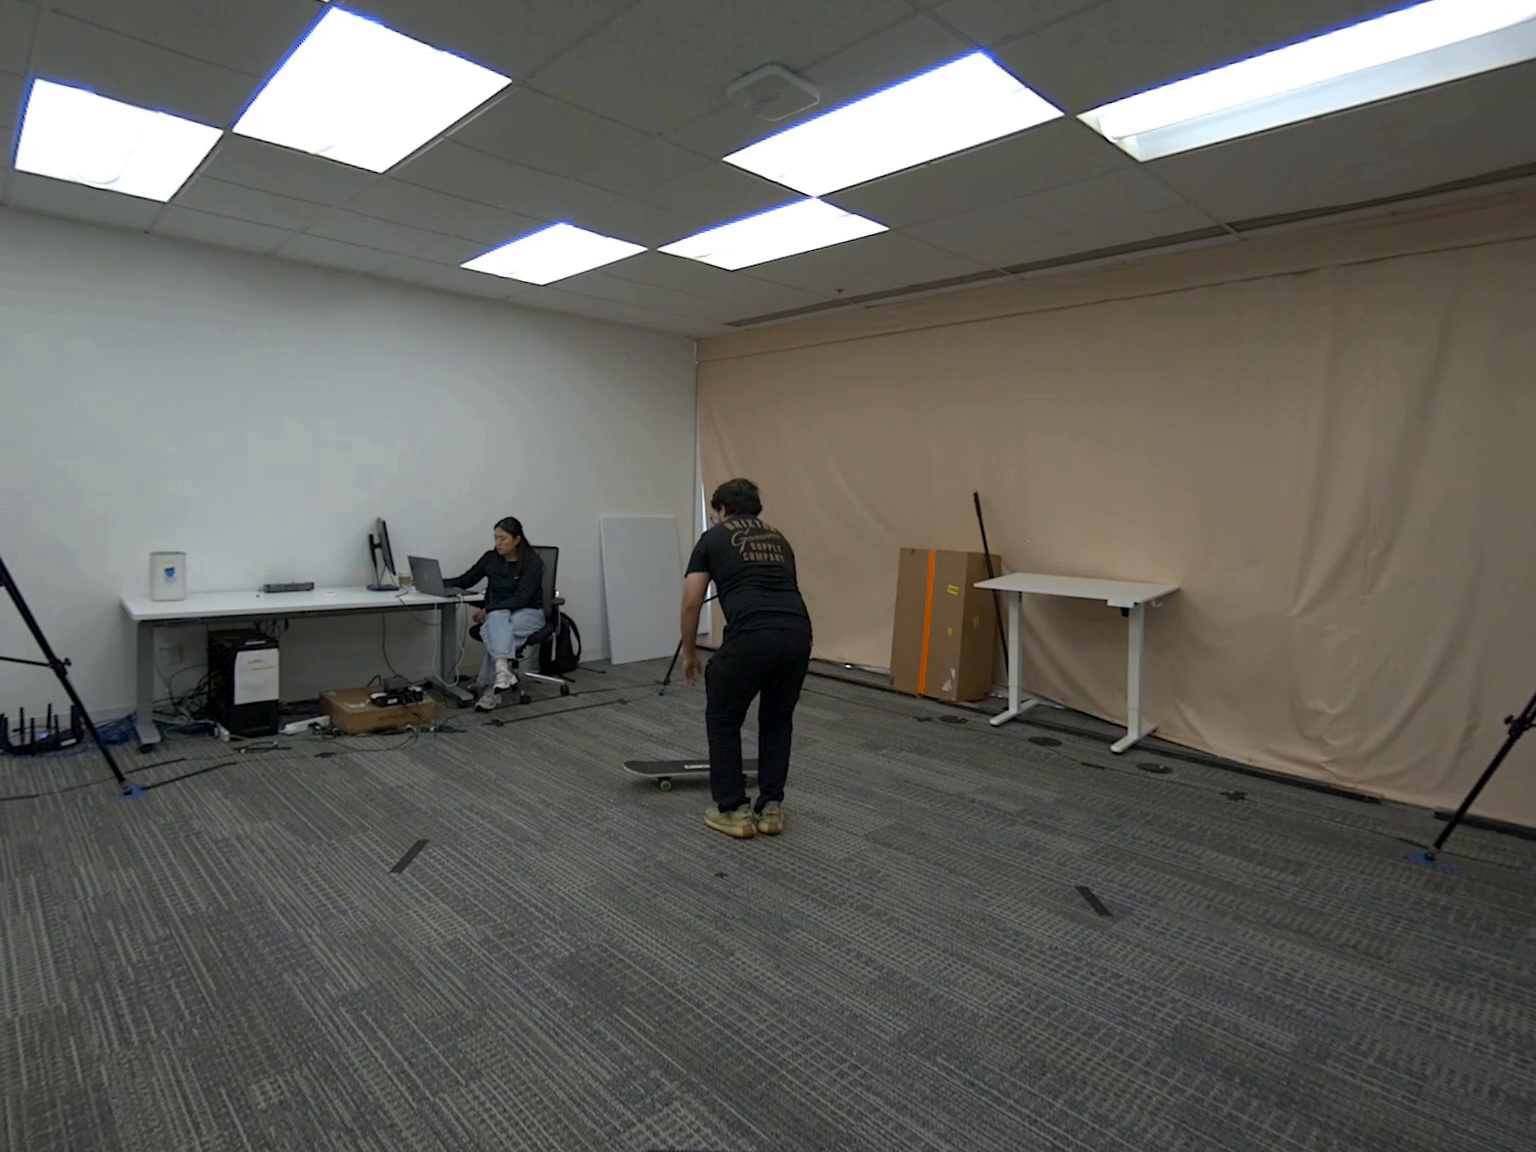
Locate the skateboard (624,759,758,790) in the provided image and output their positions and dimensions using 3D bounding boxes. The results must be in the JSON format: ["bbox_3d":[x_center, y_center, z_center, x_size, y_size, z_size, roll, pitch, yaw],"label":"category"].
[{"bbox_3d":[-0.325,0.956,4.101,0.778,0.110,0.196,1,5,-11],"label":"skateboard"}]
